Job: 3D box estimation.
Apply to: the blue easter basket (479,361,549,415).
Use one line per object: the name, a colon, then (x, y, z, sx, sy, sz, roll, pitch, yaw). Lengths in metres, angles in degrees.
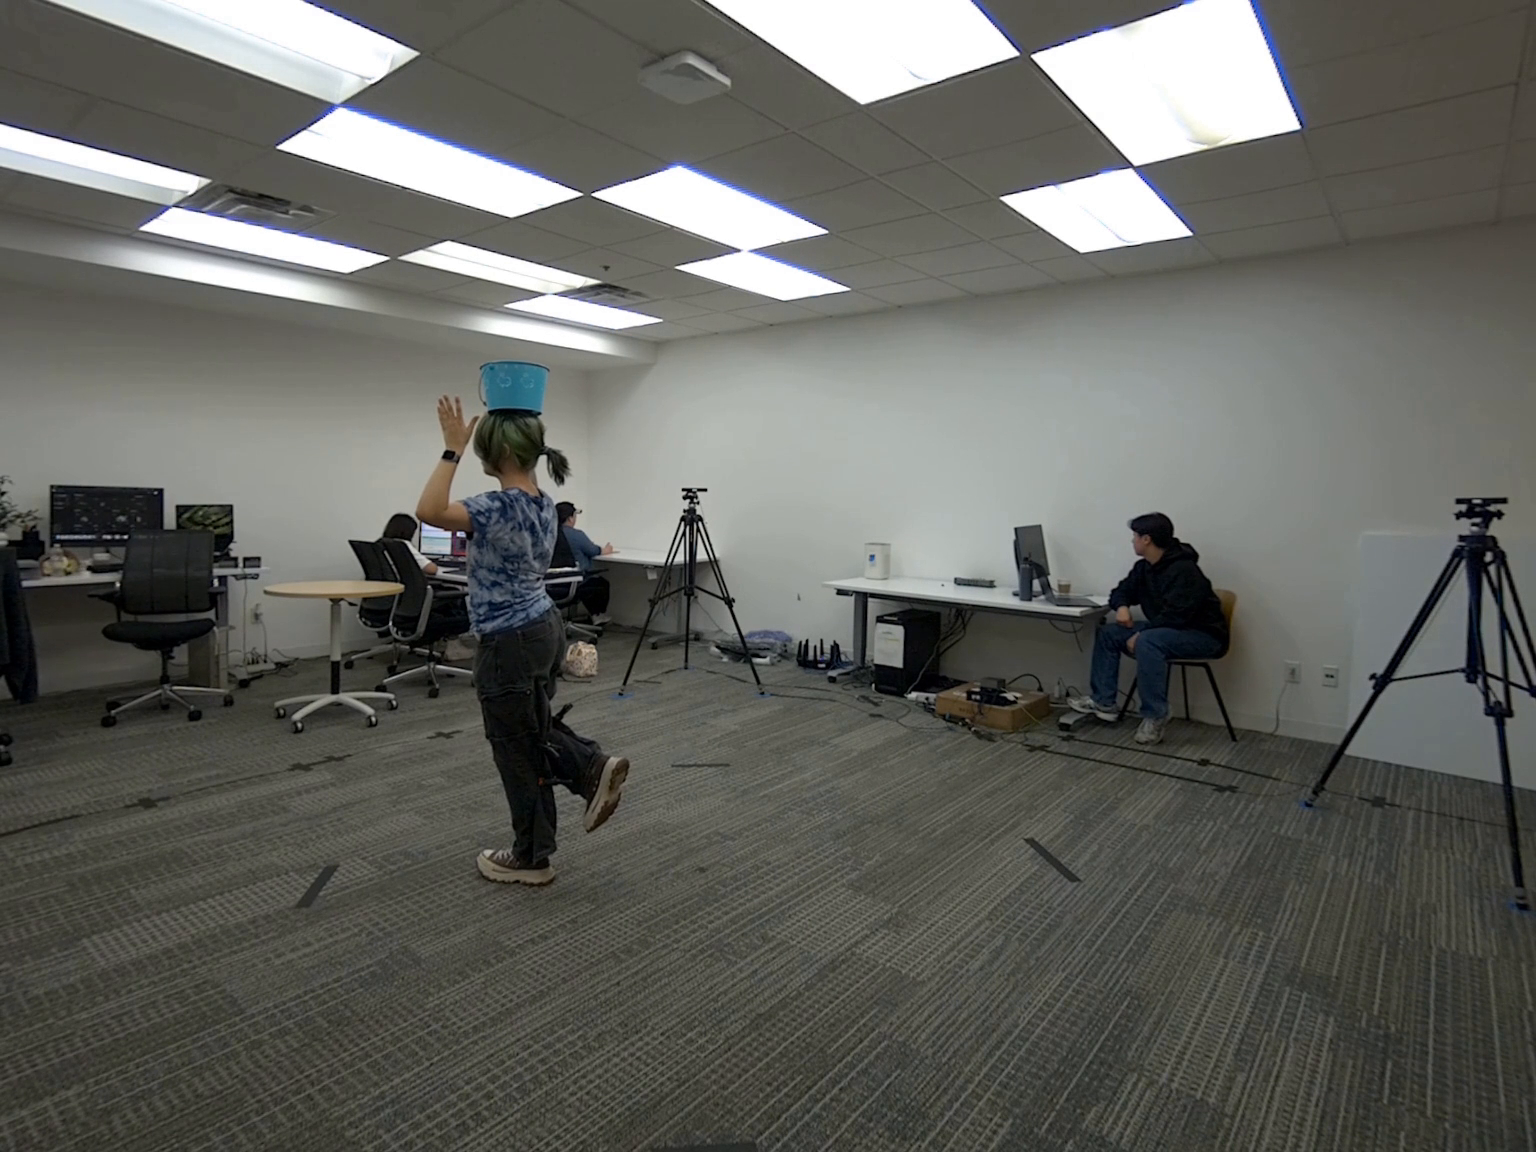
blue easter basket: (-0.874, -0.628, 2.891, 0.243, 0.156, 0.244, 0, 2, -2)
